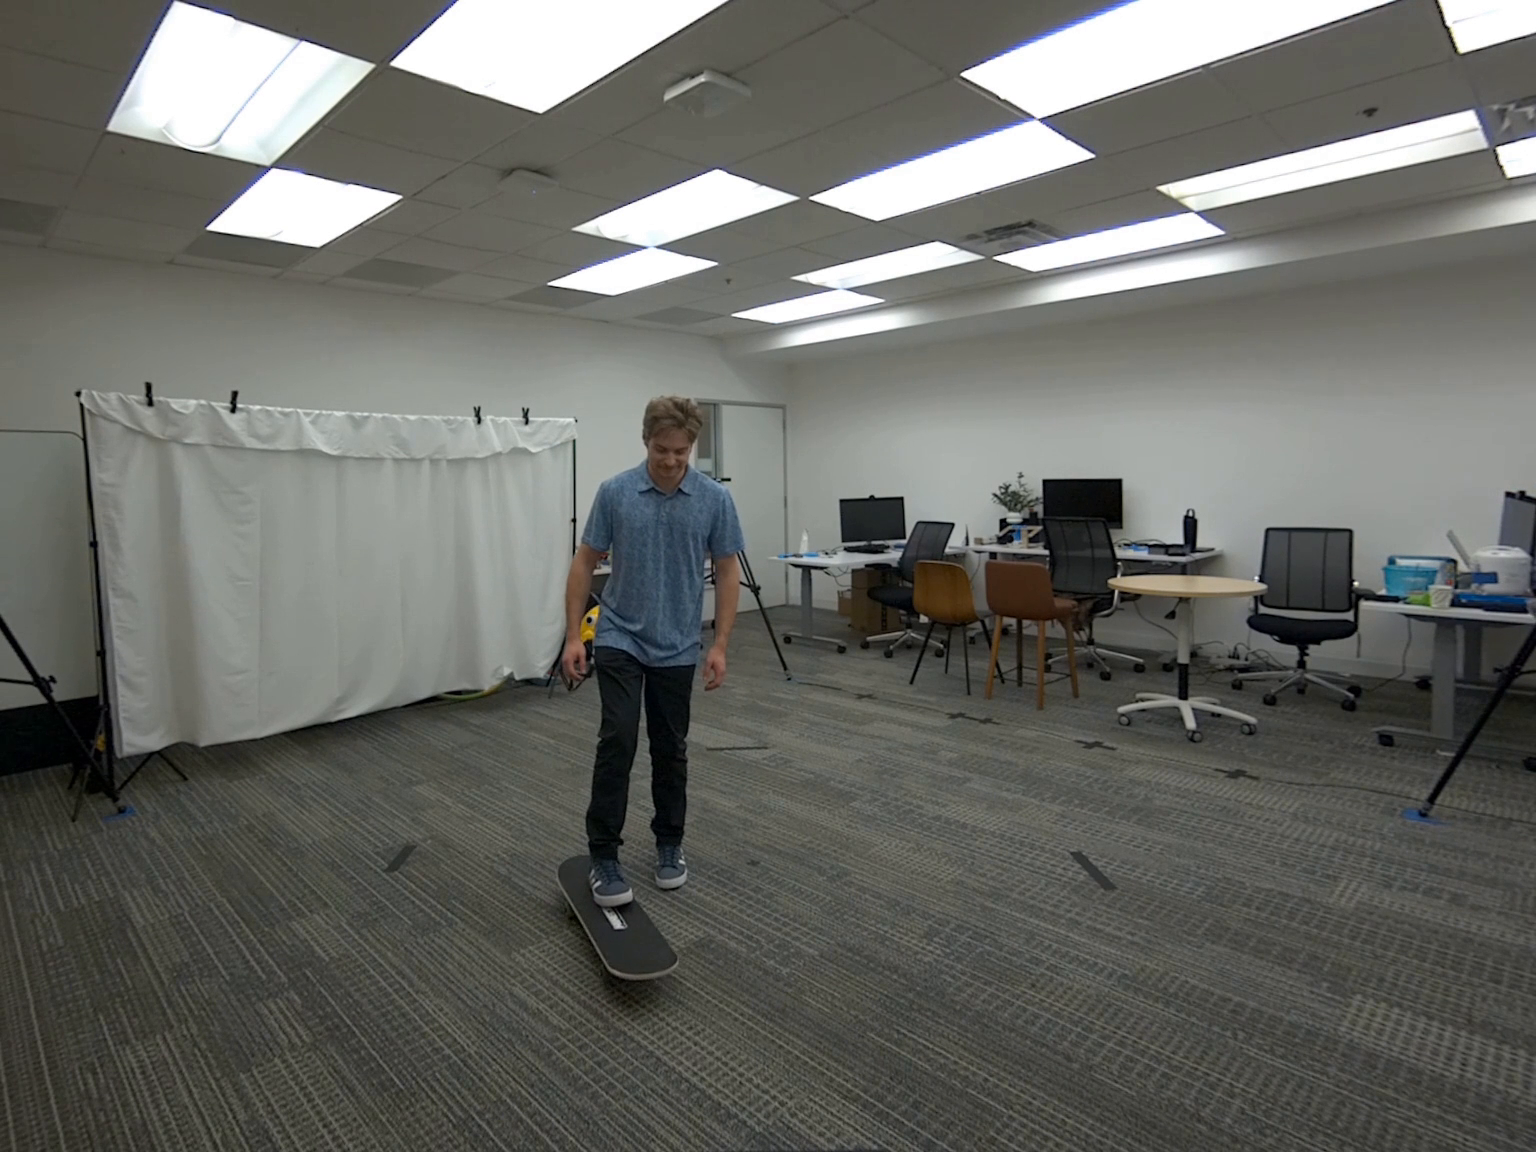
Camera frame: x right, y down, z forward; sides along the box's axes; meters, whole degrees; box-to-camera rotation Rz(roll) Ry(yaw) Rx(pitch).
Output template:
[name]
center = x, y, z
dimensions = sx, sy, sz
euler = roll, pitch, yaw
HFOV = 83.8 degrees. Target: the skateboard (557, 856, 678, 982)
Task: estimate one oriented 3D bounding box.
[skateboard]
center = -0.467, 1.056, 2.591
dimensions = 0.189, 0.110, 0.805
euler = -4, 7, -26
